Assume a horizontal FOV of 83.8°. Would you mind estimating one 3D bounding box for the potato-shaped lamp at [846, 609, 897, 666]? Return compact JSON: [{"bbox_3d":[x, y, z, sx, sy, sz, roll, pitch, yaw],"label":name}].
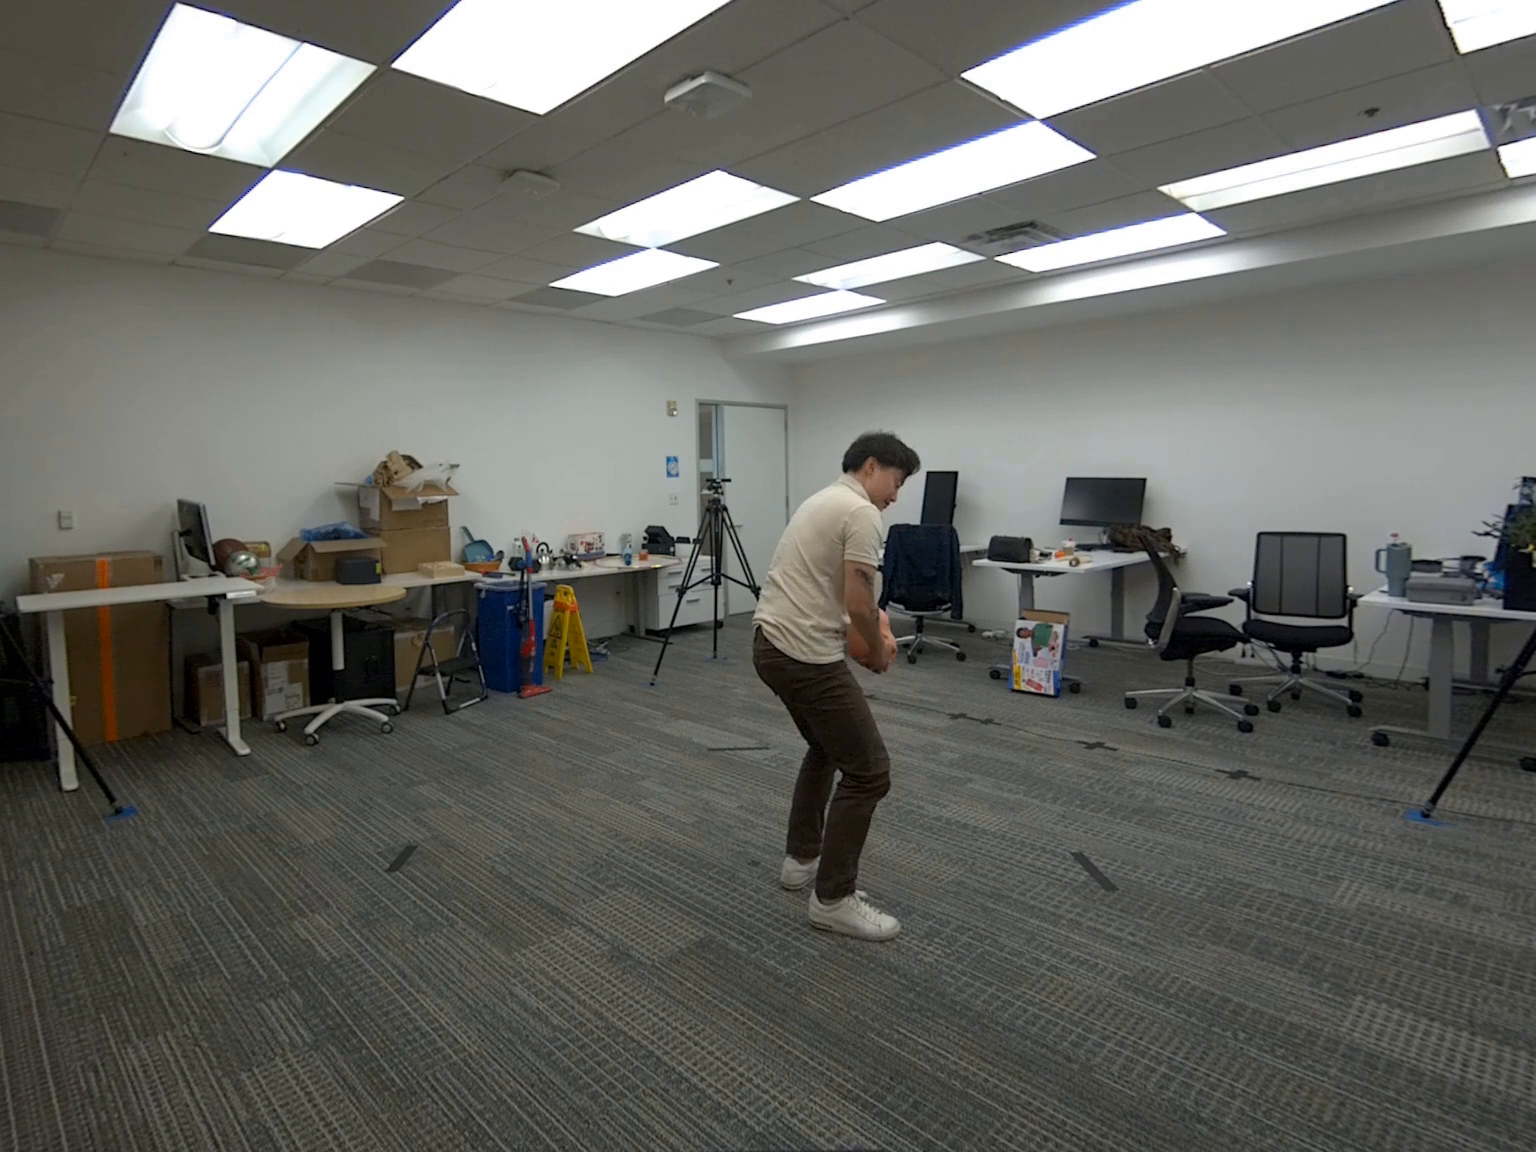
[{"bbox_3d":[0.357,0.211,2.975,0.174,0.198,0.162,3,1,12],"label":"potato-shaped lamp"}]
